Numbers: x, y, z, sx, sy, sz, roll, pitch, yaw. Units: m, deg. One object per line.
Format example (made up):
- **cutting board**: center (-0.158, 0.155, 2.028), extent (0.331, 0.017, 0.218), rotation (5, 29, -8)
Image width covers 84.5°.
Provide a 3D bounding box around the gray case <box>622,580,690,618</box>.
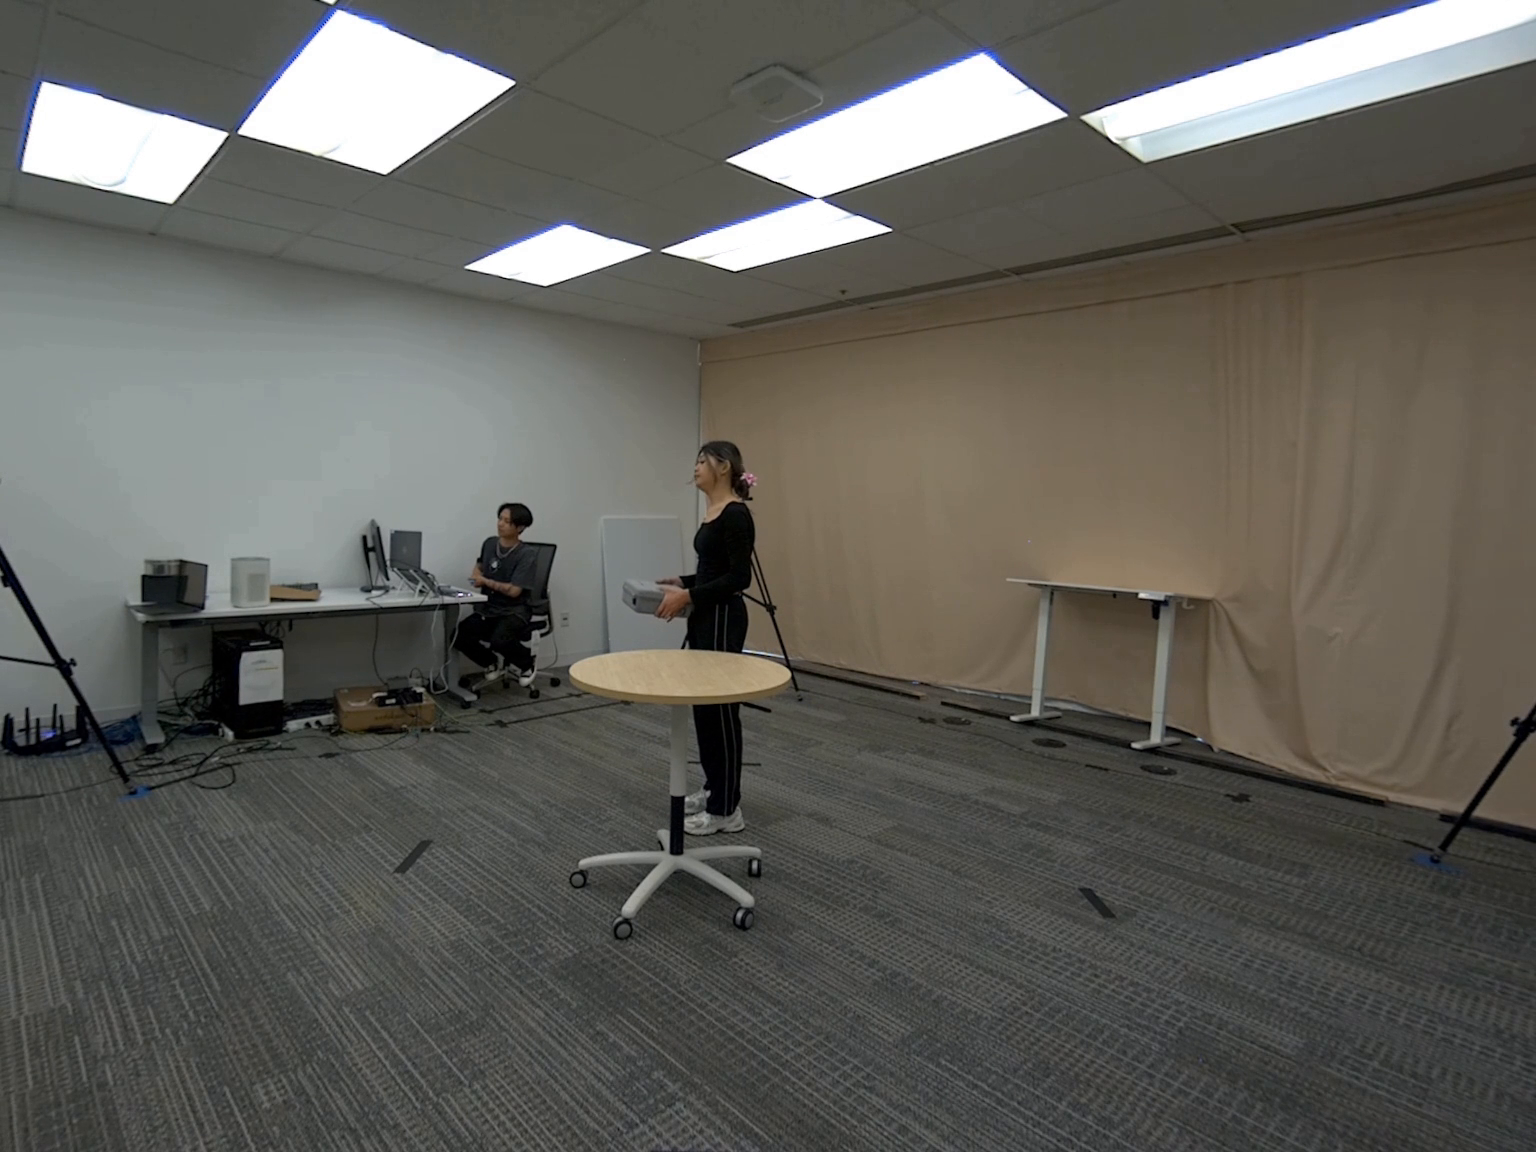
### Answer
- **gray case**: center (-0.466, 0.095, 3.534), extent (0.256, 0.104, 0.262), rotation (7, 5, -21)
